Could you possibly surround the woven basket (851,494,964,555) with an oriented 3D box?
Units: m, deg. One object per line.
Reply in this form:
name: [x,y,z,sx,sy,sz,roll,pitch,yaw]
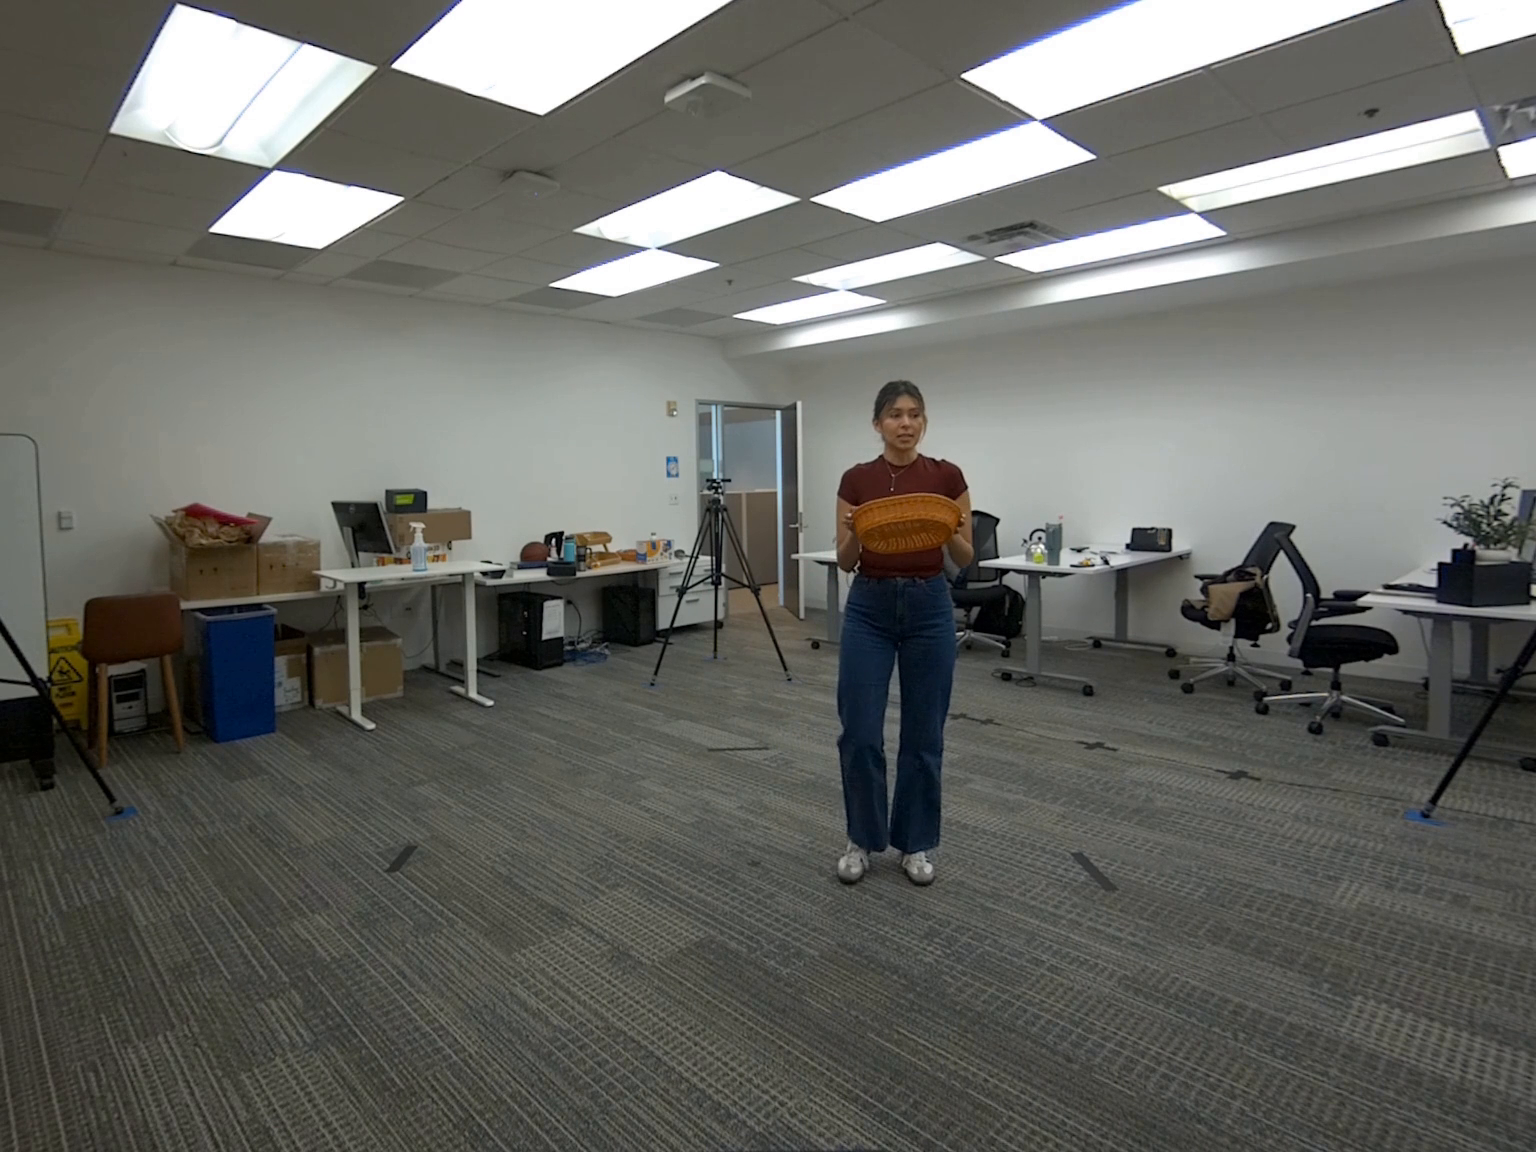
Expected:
woven basket: [0.438,-0.150,2.645,0.357,0.075,0.242,-9,-33,27]
